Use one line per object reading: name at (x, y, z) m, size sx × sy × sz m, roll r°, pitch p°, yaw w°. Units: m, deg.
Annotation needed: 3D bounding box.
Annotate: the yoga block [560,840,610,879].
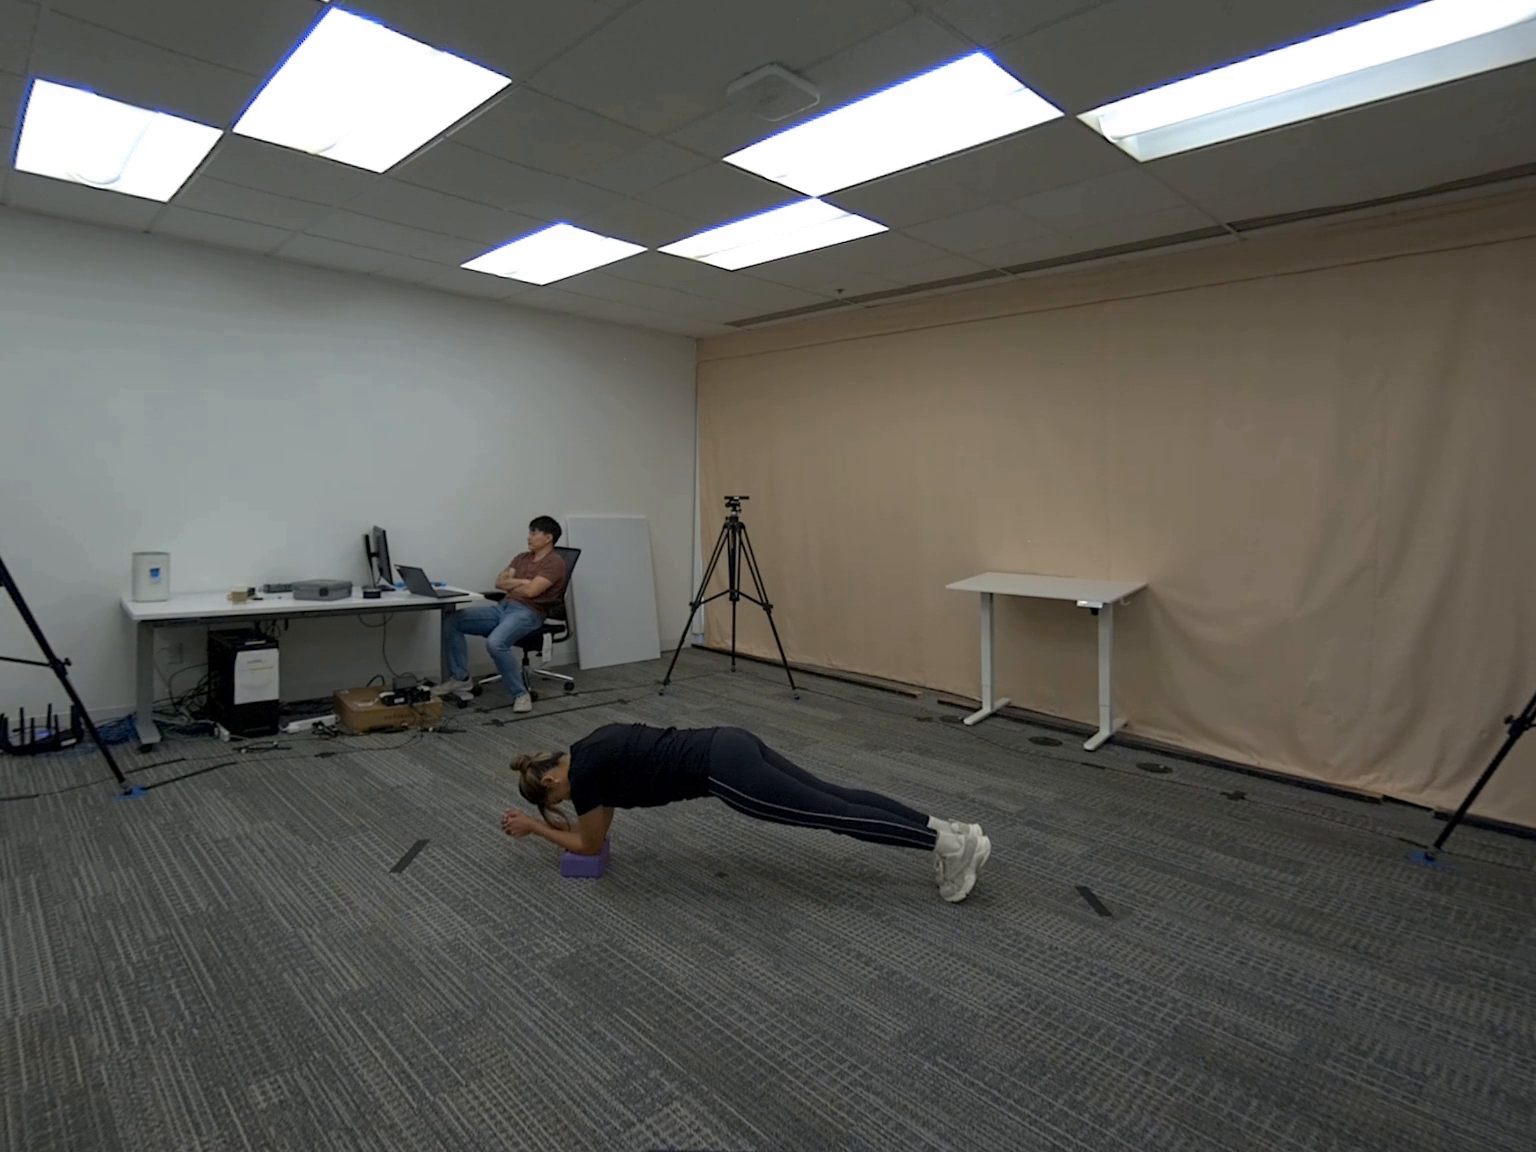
yoga block at (-0.685, 1.040, 3.162) m, size 0.149 × 0.076 × 0.230 m, roll -1°, pitch 5°, yaw 0°
